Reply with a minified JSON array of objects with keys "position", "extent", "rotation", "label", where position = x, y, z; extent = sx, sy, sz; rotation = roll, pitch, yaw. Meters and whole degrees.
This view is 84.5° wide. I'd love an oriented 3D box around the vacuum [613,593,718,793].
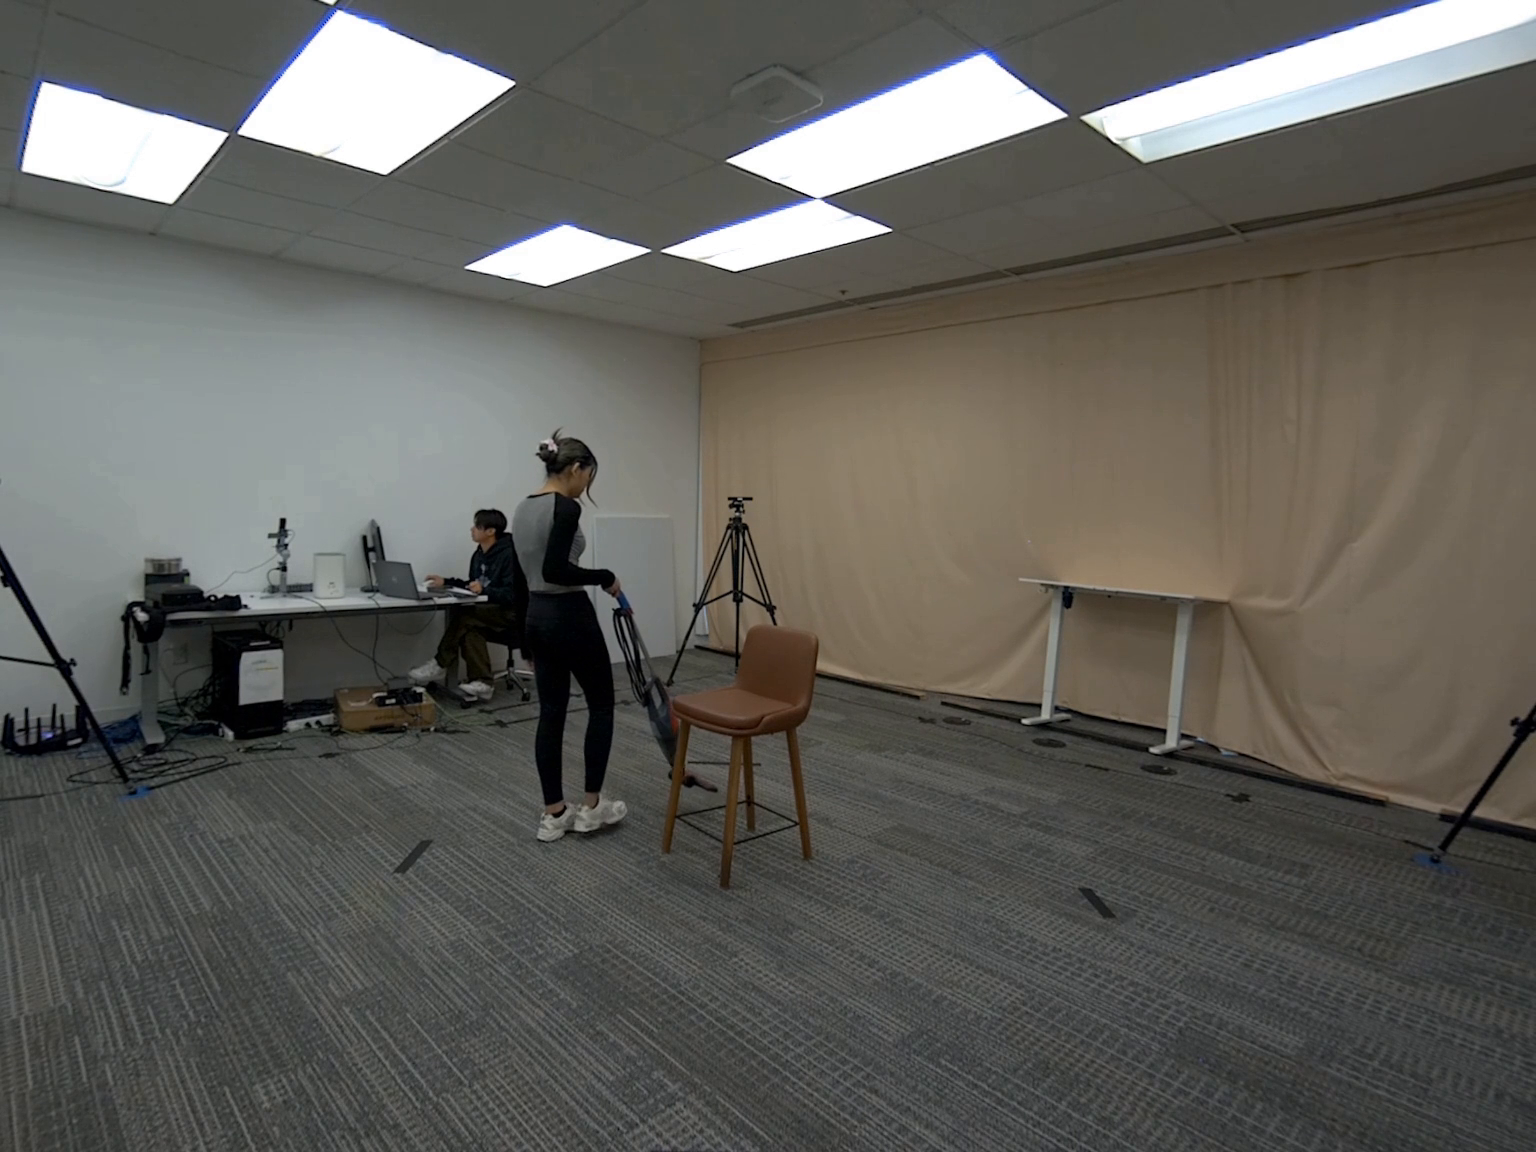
[{"position":[-0.513,0.460,3.560],"extent":[0.259,1.030,0.143],"rotation":[2,28,42],"label":"vacuum"}]
